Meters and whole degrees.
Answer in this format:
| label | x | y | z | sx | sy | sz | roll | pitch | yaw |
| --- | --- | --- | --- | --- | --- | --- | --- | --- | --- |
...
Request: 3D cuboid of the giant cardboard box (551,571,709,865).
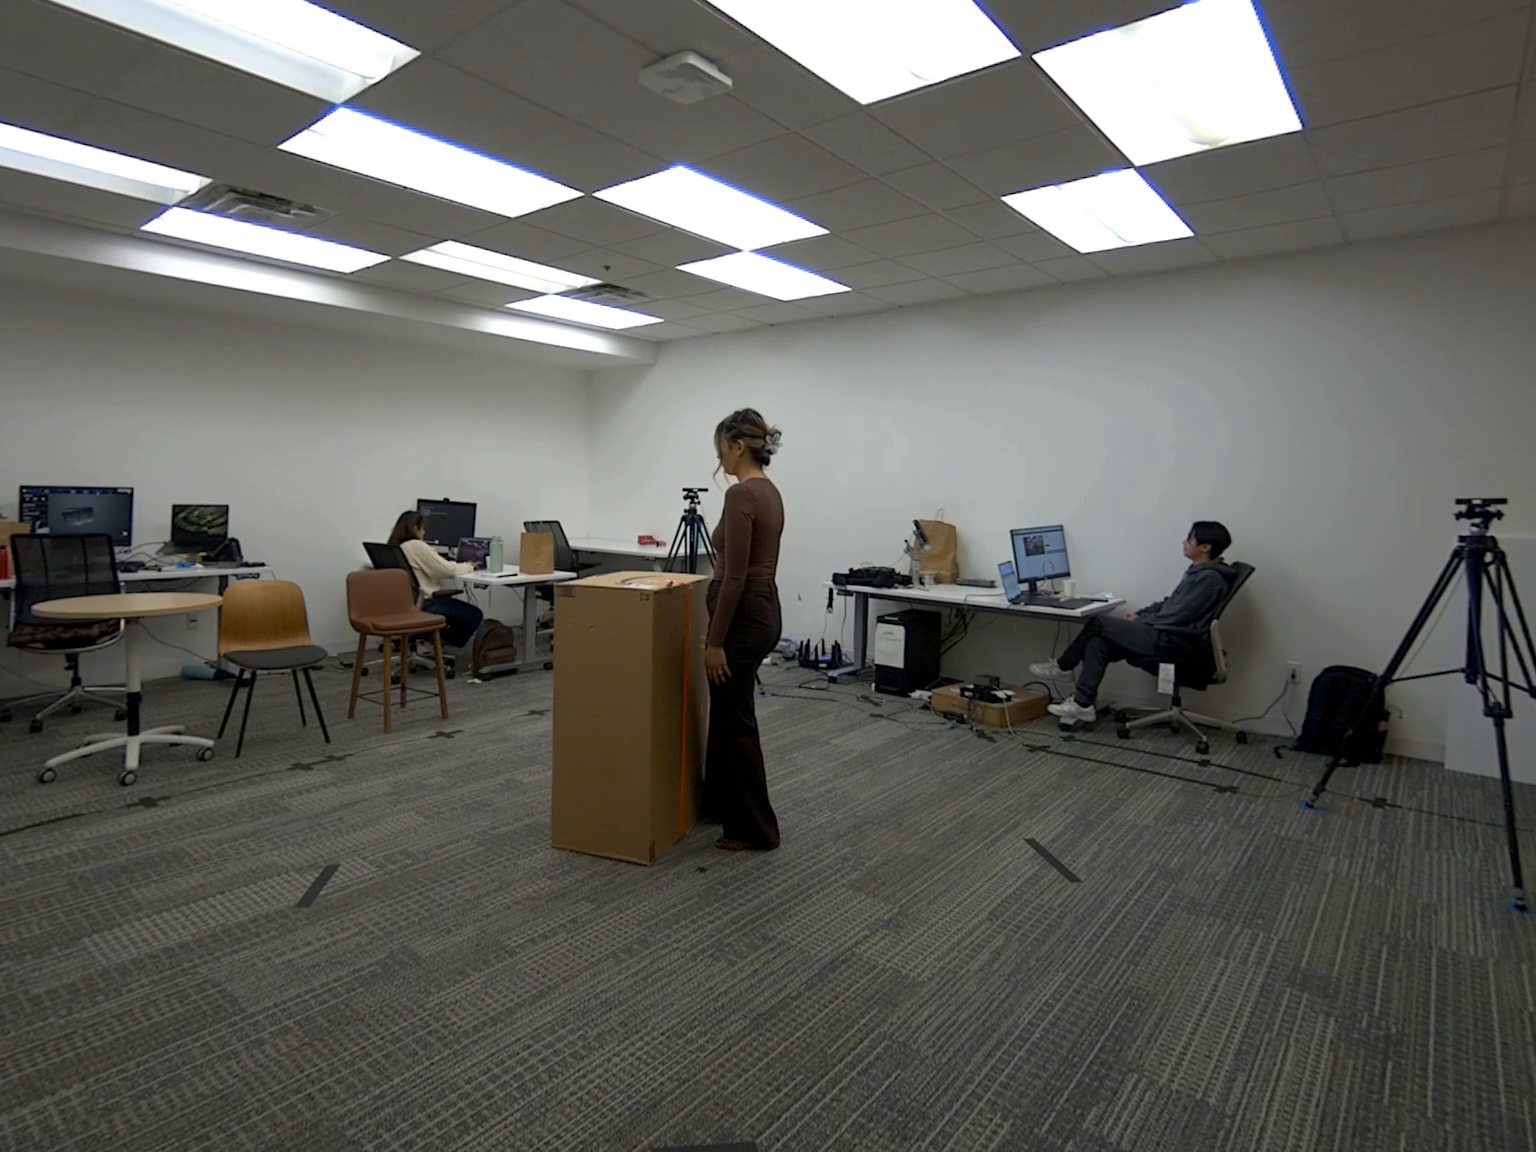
| label | x | y | z | sx | sy | sz | roll | pitch | yaw |
| --- | --- | --- | --- | --- | --- | --- | --- | --- | --- |
| giant cardboard box | -0.548 | 0.521 | 3.437 | 0.457 | 1.024 | 0.573 | 3 | 3 | 20 |
